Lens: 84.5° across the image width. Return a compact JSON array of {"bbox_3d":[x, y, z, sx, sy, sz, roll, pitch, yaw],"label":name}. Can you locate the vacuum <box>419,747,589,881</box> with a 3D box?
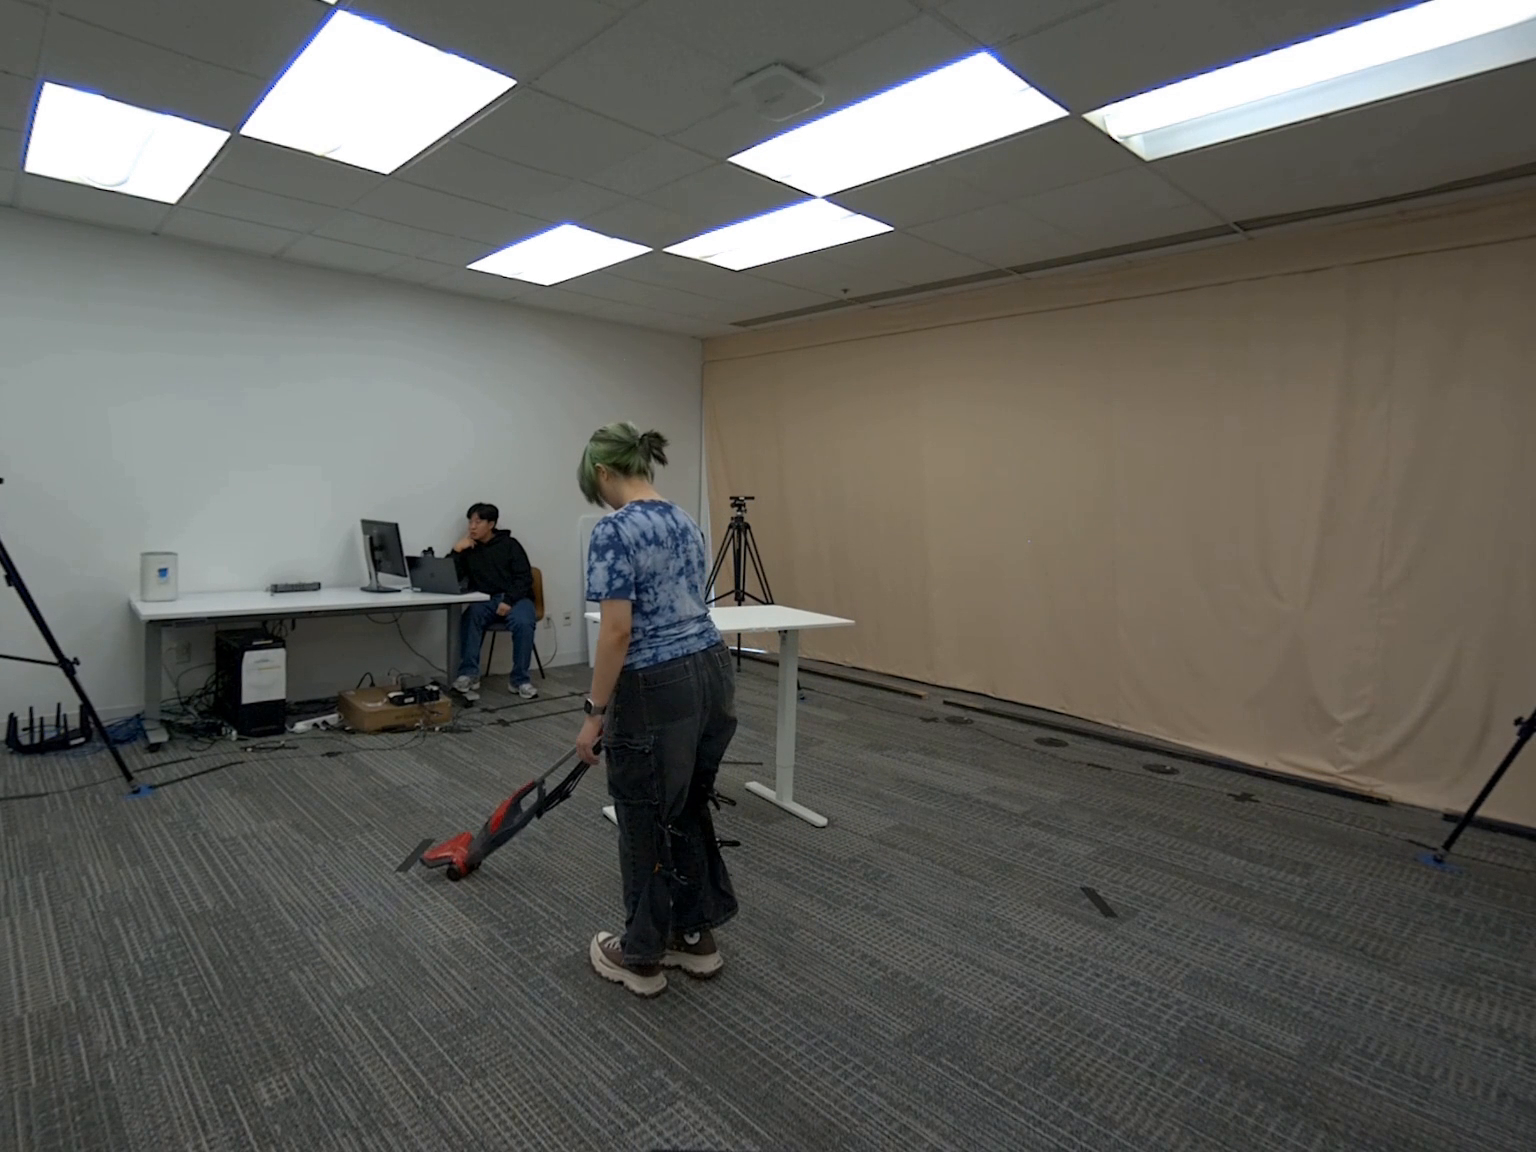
[{"bbox_3d":[-0.782,0.753,2.897,1.053,0.145,0.249,-37,-8,21],"label":"vacuum"}]
